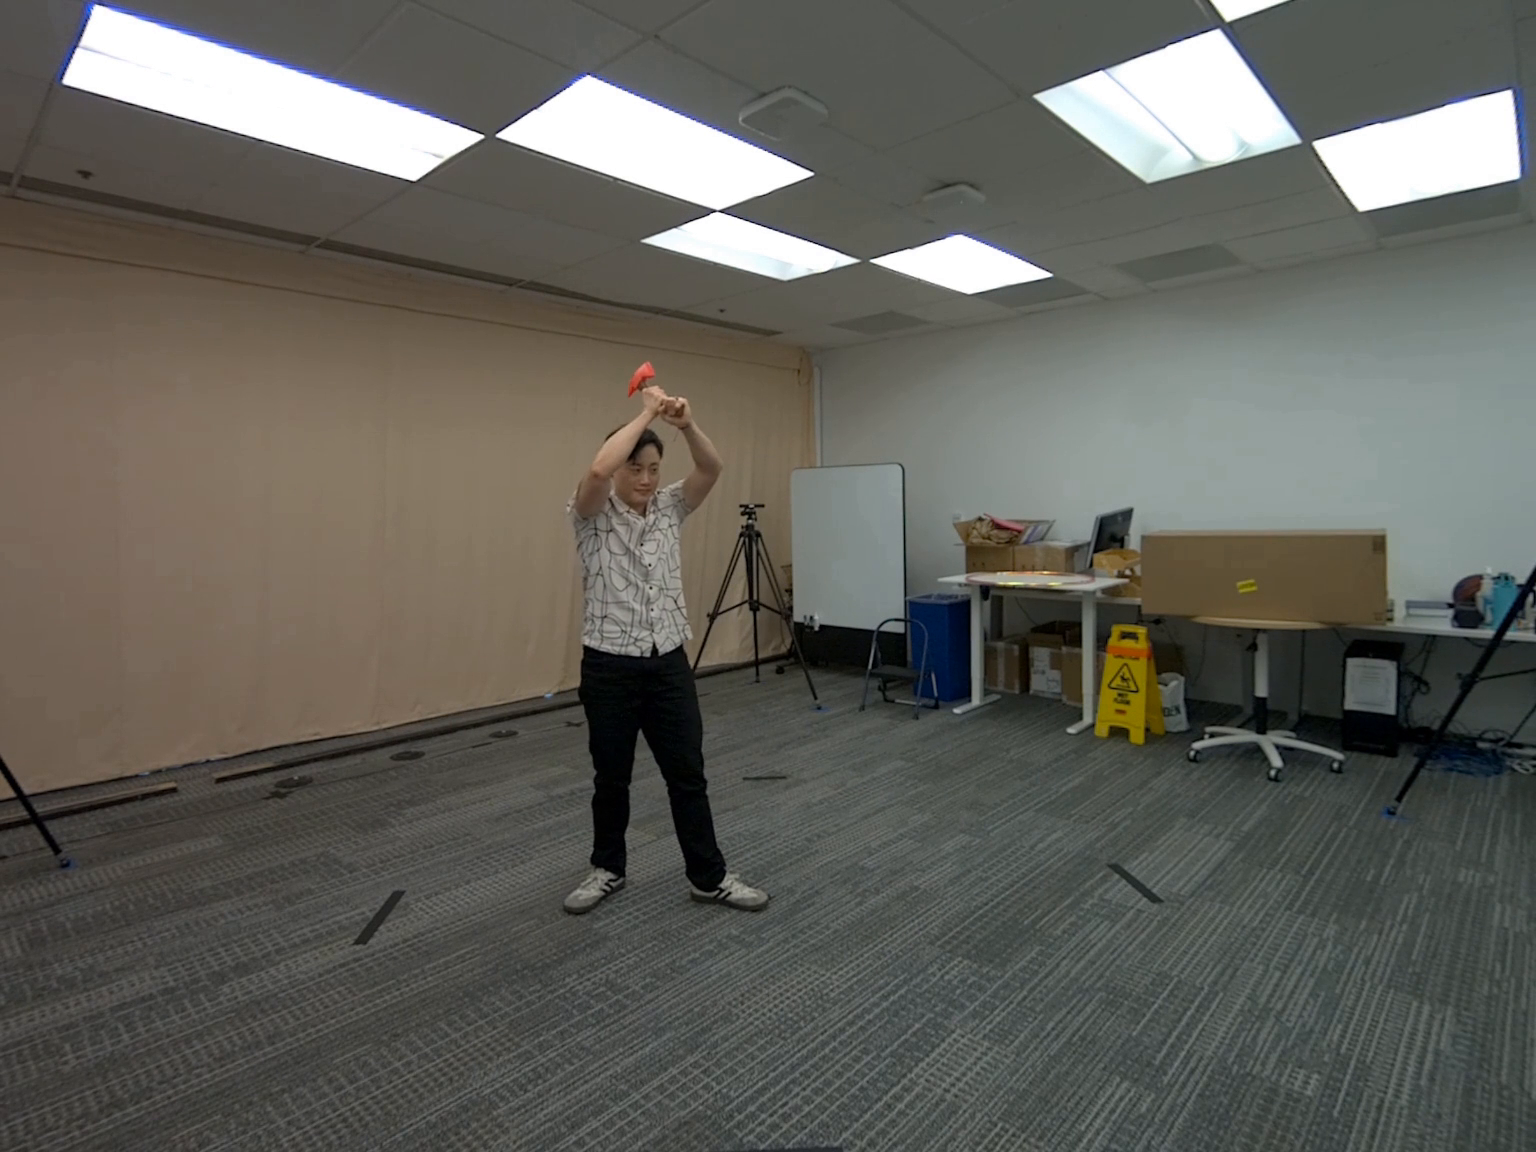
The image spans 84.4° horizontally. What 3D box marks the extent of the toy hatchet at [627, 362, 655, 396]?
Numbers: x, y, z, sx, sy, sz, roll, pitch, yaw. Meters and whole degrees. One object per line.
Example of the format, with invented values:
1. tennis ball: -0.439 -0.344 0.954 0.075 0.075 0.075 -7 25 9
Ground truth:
1. toy hatchet: -0.348 -0.612 2.703 0.280 0.131 0.028 28 9 40
